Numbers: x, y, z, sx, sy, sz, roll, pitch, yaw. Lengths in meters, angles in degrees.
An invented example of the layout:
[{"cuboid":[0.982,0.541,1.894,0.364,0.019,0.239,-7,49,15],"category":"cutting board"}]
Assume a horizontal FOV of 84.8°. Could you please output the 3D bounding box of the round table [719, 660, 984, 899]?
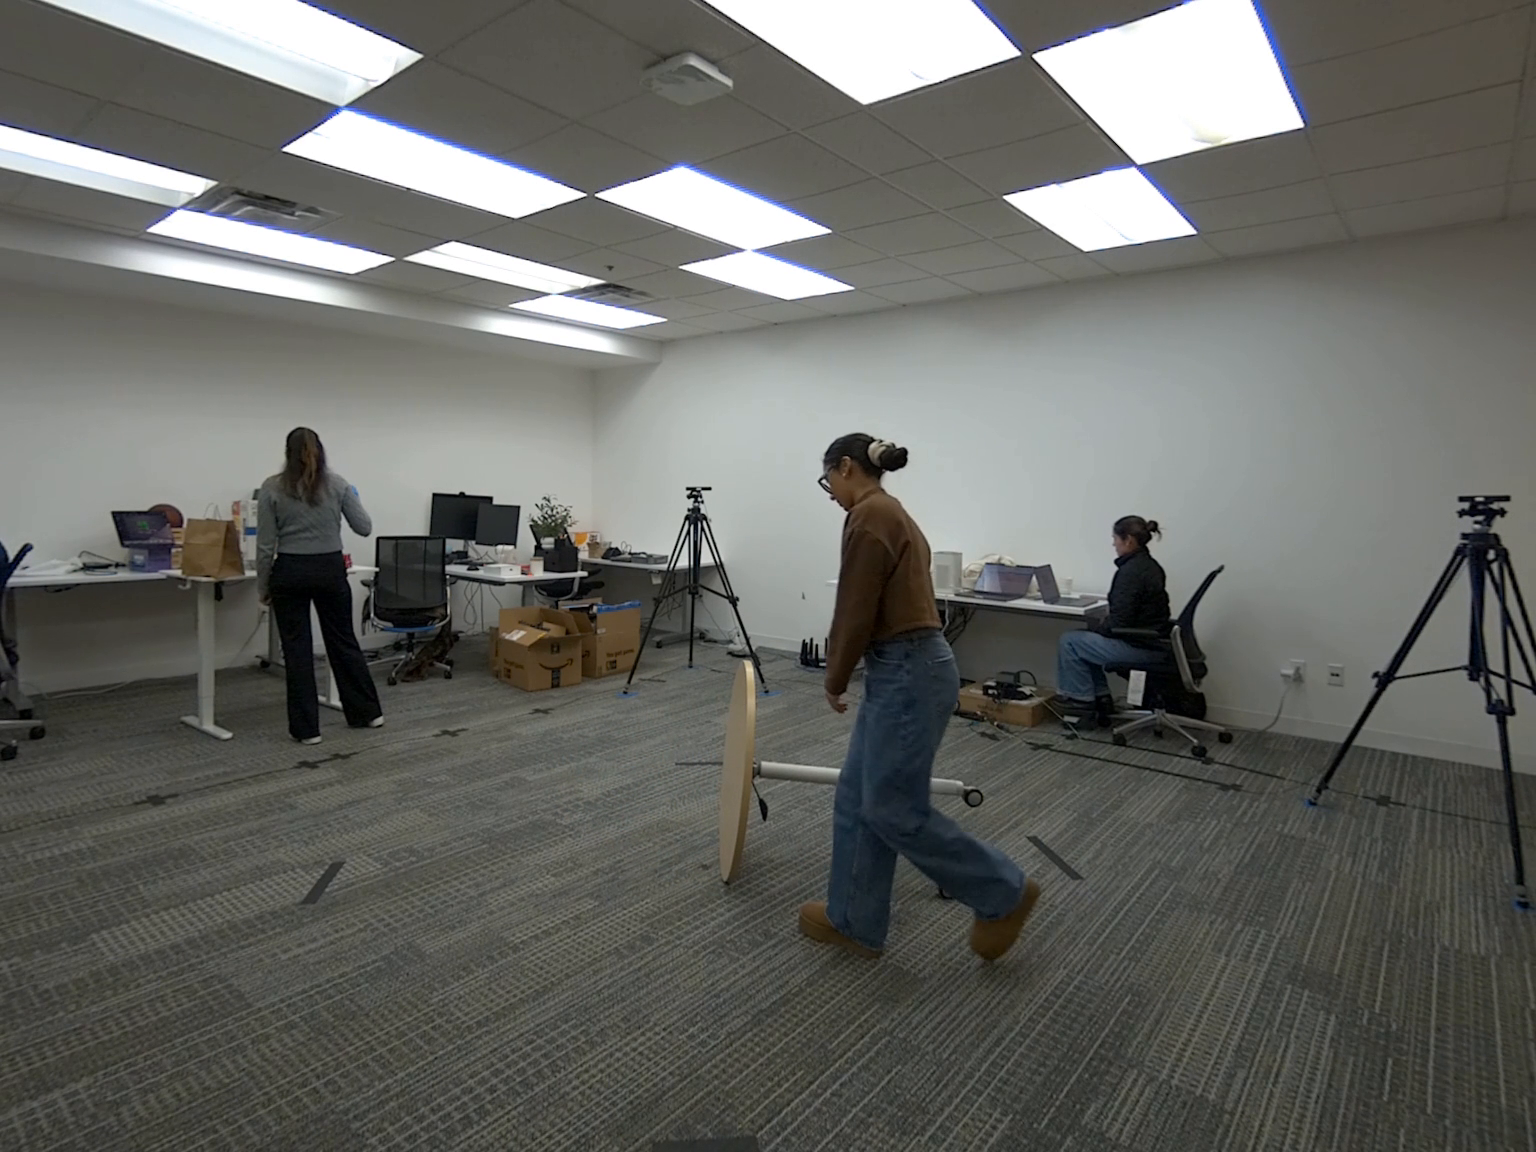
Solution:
[{"cuboid":[0.256,0.731,3.080,0.791,0.762,0.769,6,4,-4],"category":"round table"}]
